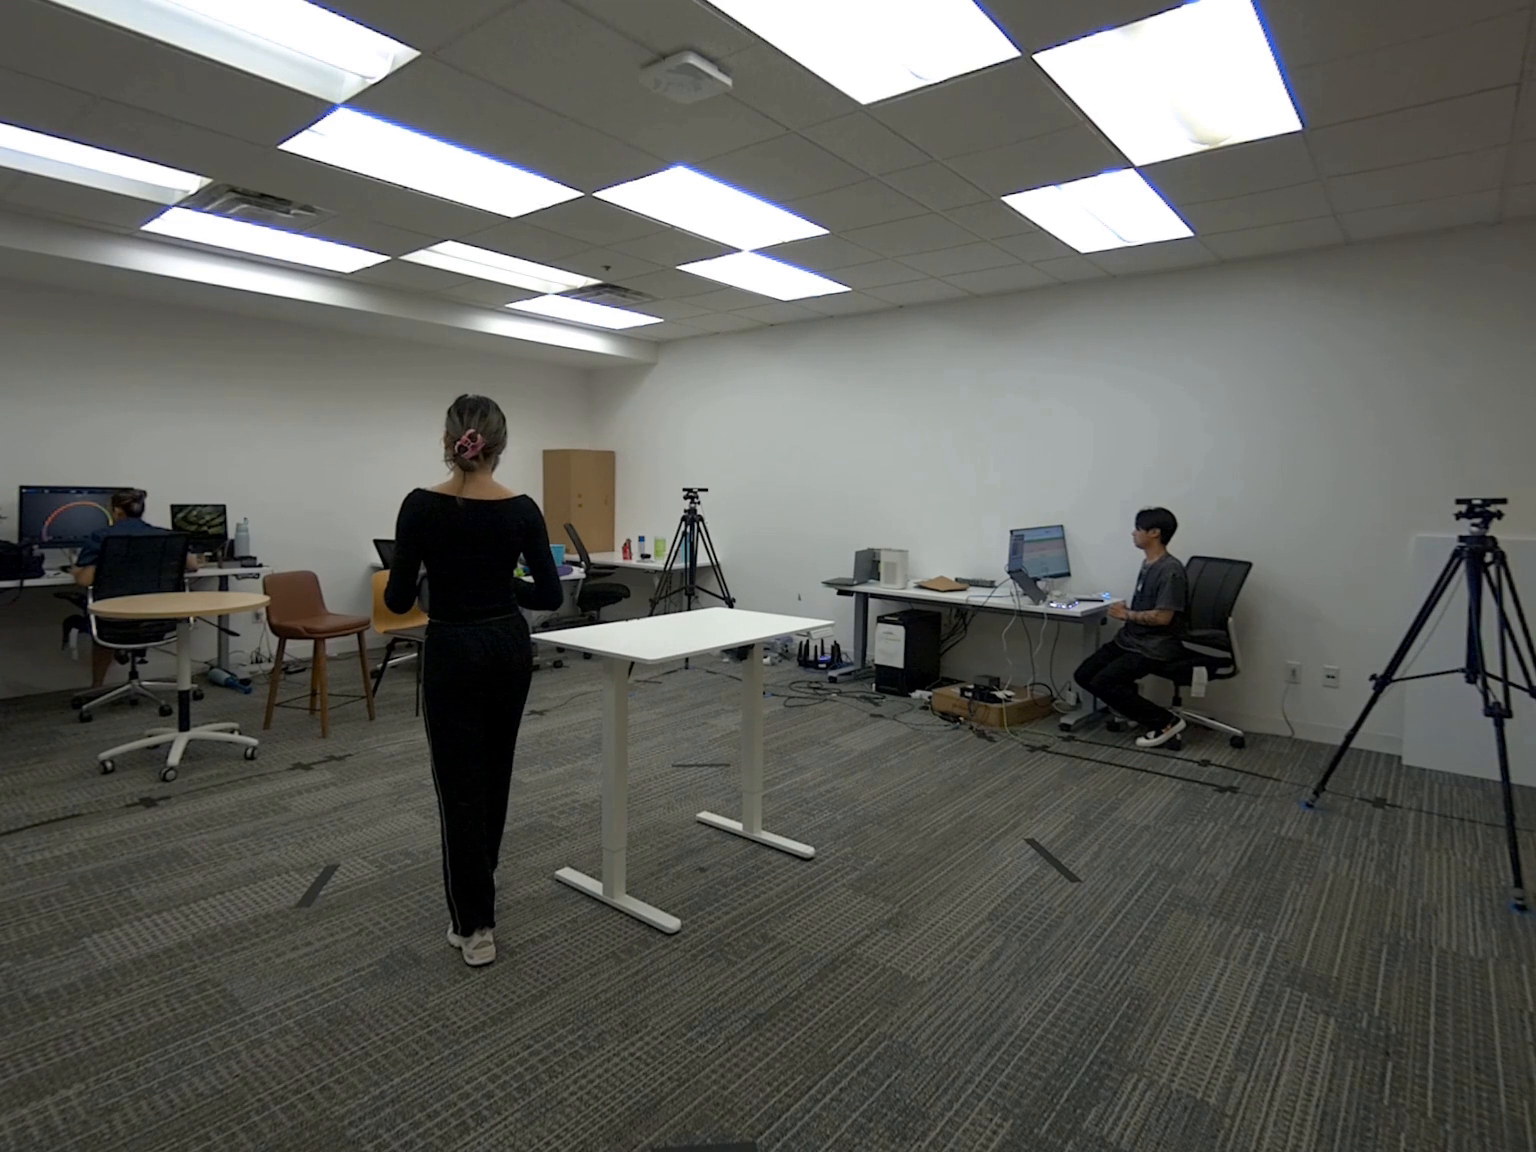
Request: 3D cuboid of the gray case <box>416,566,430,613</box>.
[{"bbox_3d":[-1.015,-0.016,2.745,0.252,0.262,0.106,0,-5,-20],"label":"gray case"}]
